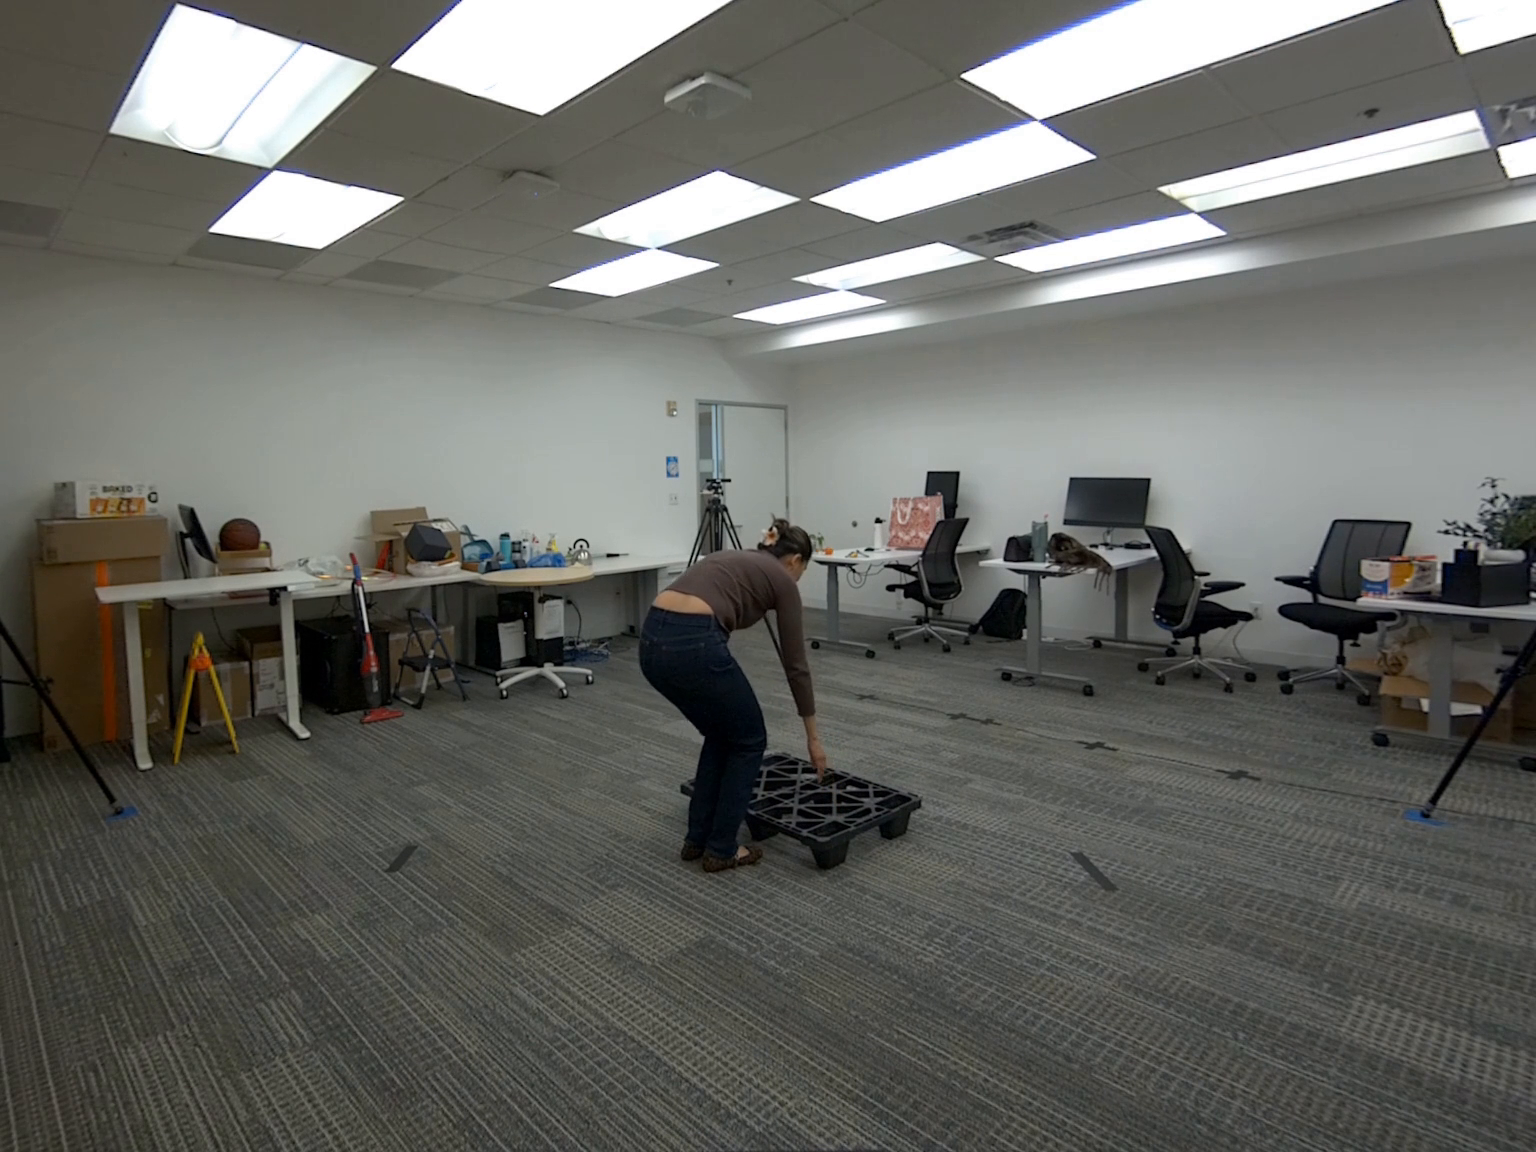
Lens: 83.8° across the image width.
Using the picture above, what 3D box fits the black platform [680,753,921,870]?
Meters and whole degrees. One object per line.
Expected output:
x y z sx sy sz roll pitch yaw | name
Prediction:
0.122 0.937 3.458 0.590 0.142 0.830 -8 9 -43 | black platform
